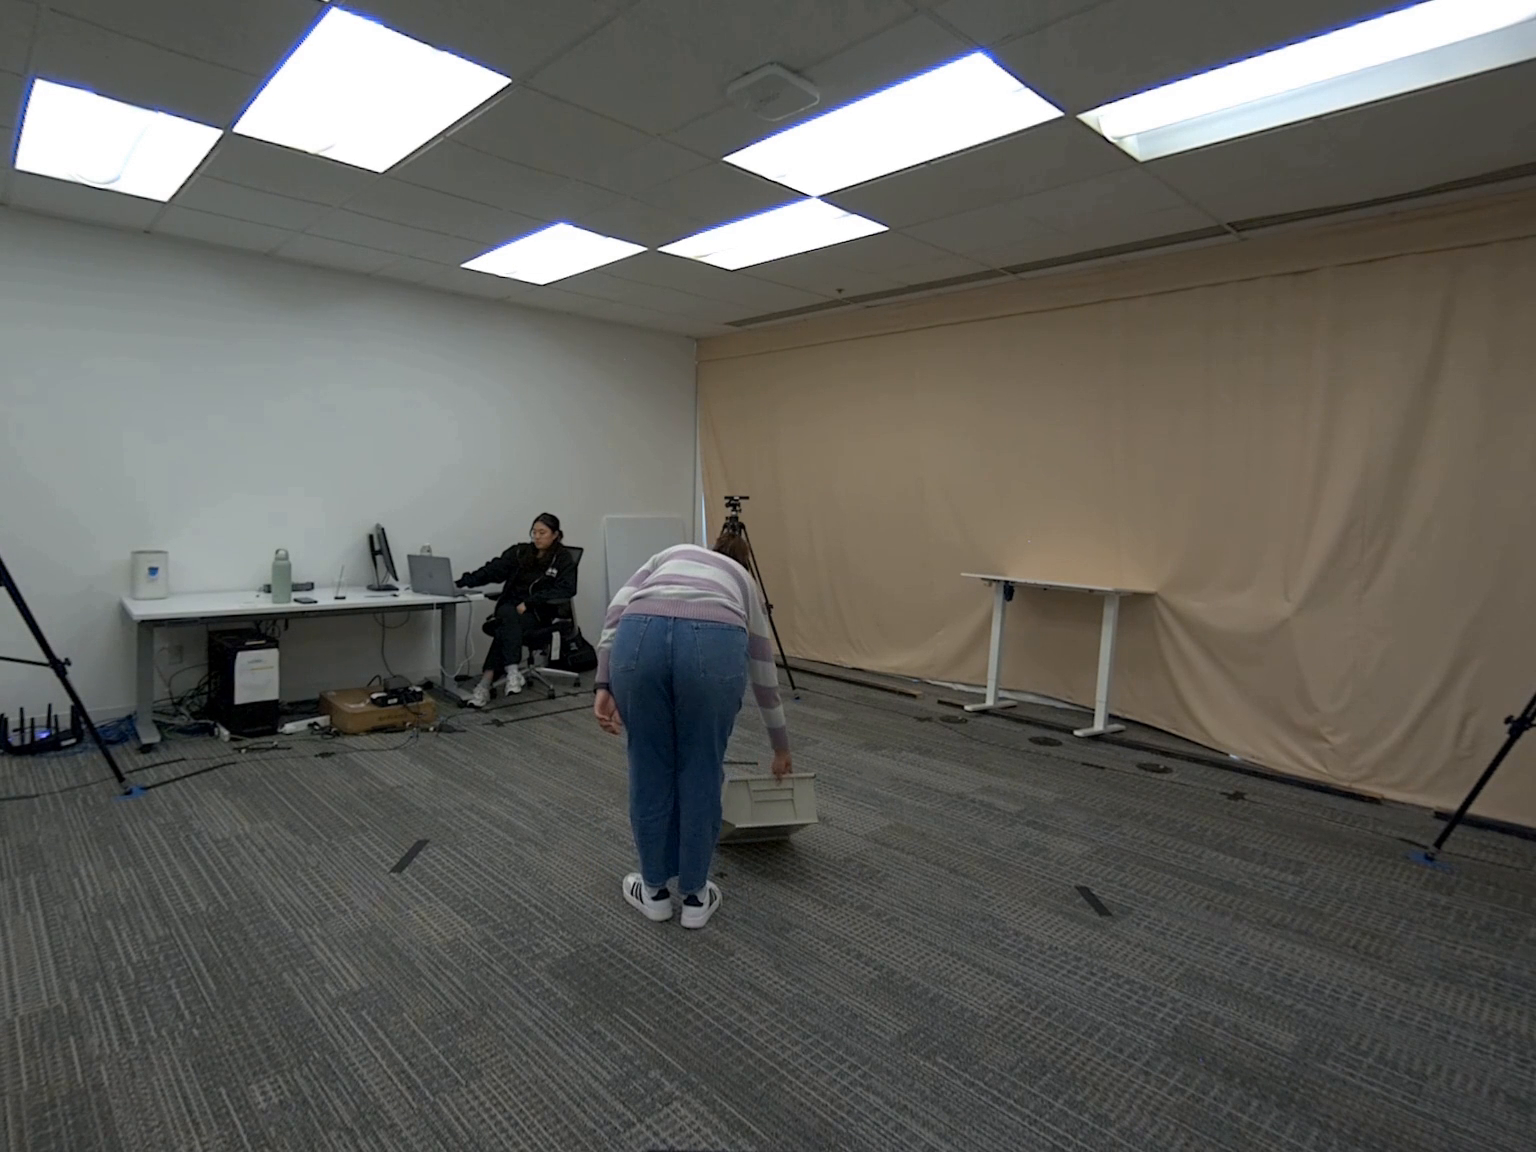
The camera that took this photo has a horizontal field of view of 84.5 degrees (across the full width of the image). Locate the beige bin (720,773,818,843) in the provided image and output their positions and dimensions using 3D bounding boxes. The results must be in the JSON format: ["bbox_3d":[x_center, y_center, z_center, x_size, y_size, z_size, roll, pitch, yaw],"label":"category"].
[{"bbox_3d":[-0.047,0.908,3.267,0.373,0.192,0.419,1,-26,-13],"label":"beige bin"}]
